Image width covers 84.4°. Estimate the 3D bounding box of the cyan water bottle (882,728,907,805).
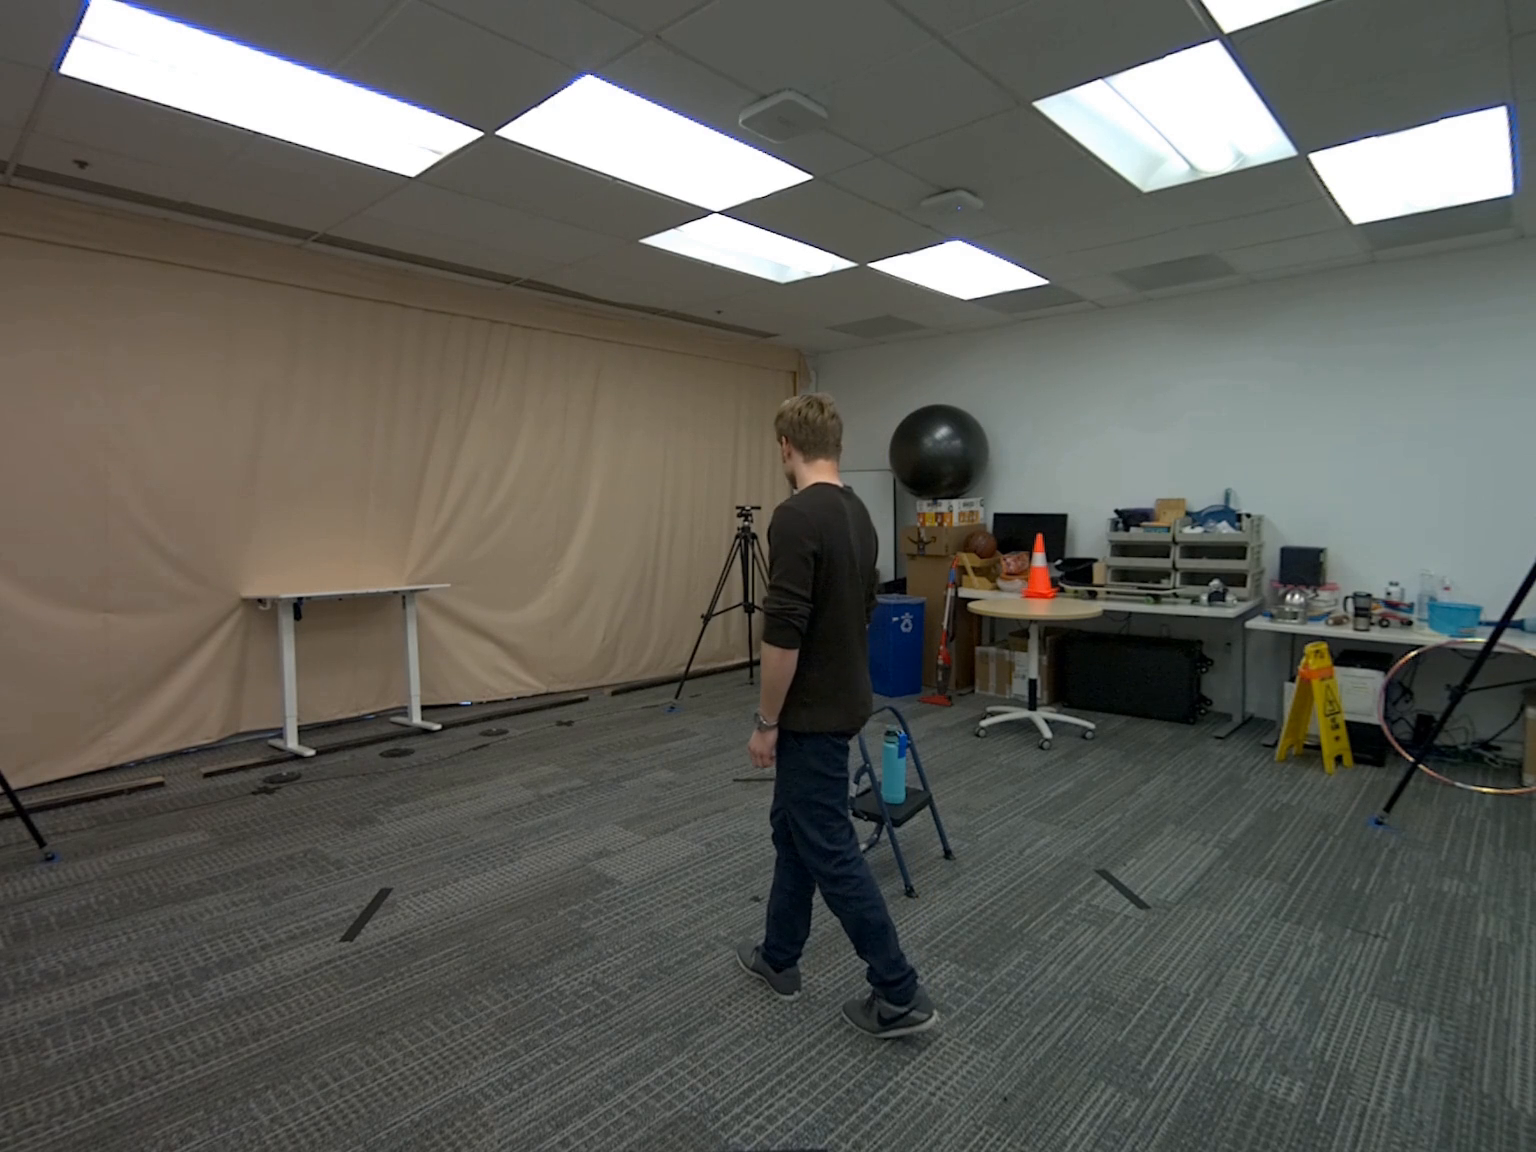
[{"bbox_3d":[0.487,0.722,3.229,0.092,0.283,0.092,2,3,-2],"label":"cyan water bottle"}]
